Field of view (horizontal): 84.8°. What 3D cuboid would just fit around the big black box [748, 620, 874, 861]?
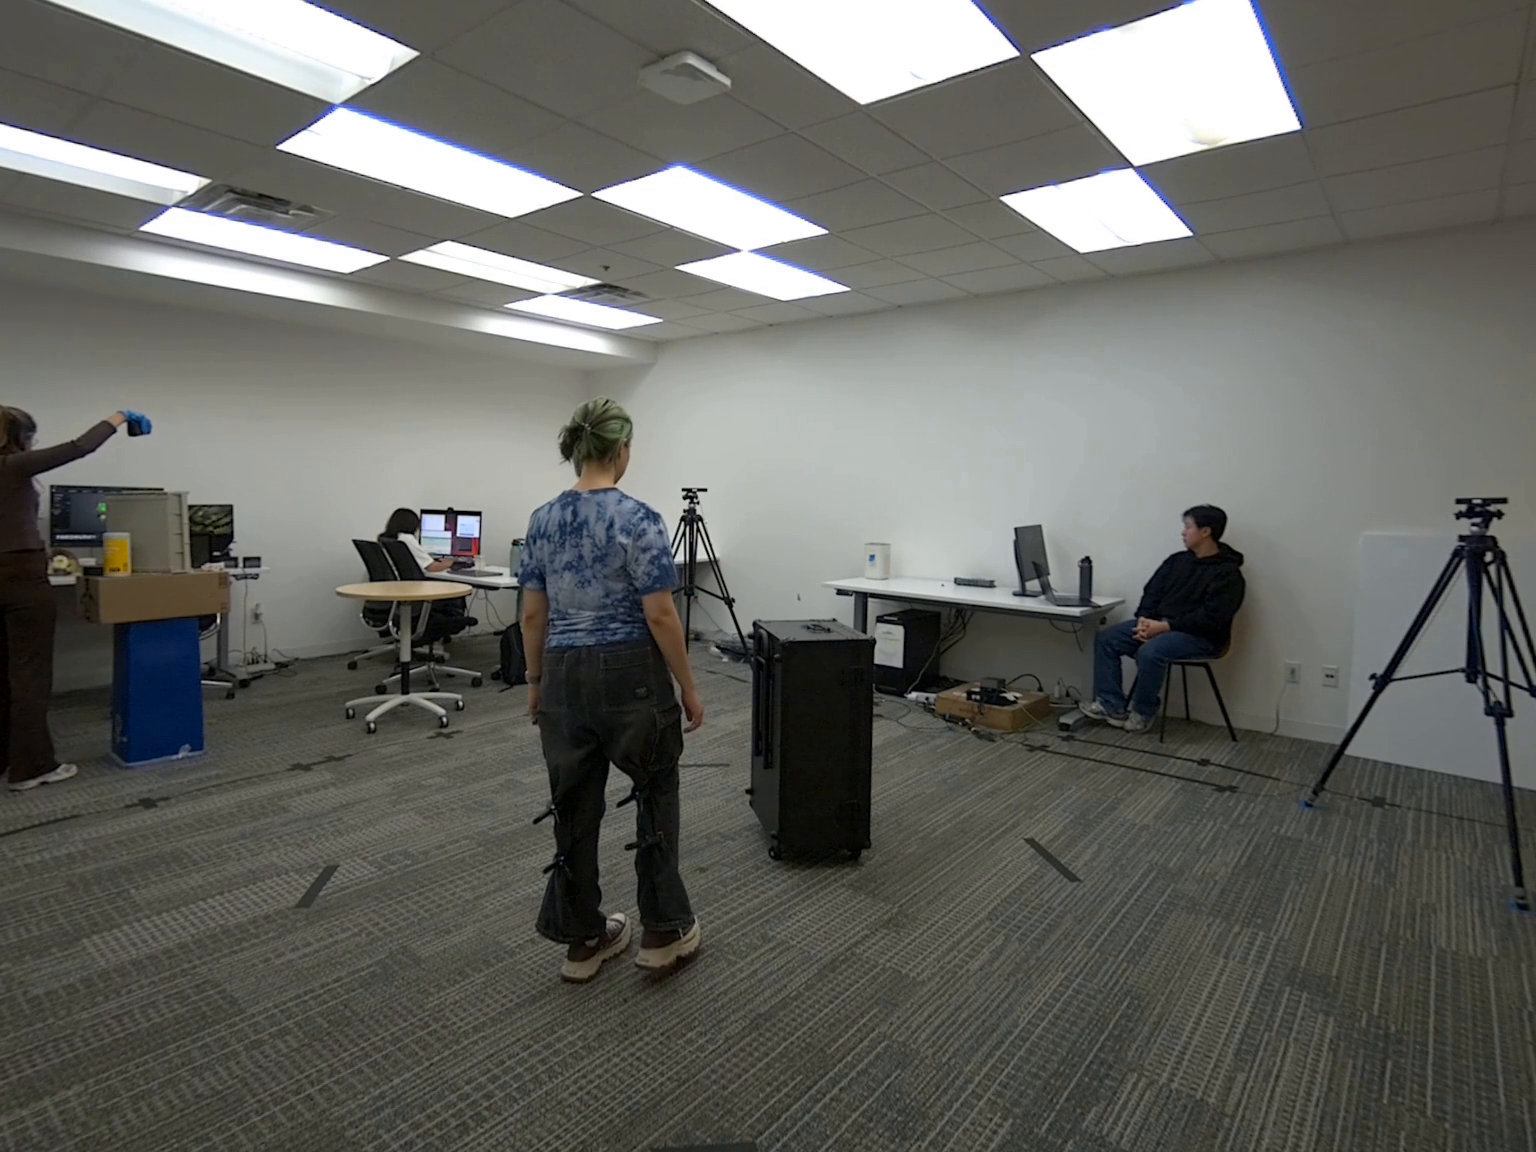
[{"bbox_3d":[0.146,0.627,3.333,0.392,0.858,0.529,0,4,-12],"label":"big black box"}]
